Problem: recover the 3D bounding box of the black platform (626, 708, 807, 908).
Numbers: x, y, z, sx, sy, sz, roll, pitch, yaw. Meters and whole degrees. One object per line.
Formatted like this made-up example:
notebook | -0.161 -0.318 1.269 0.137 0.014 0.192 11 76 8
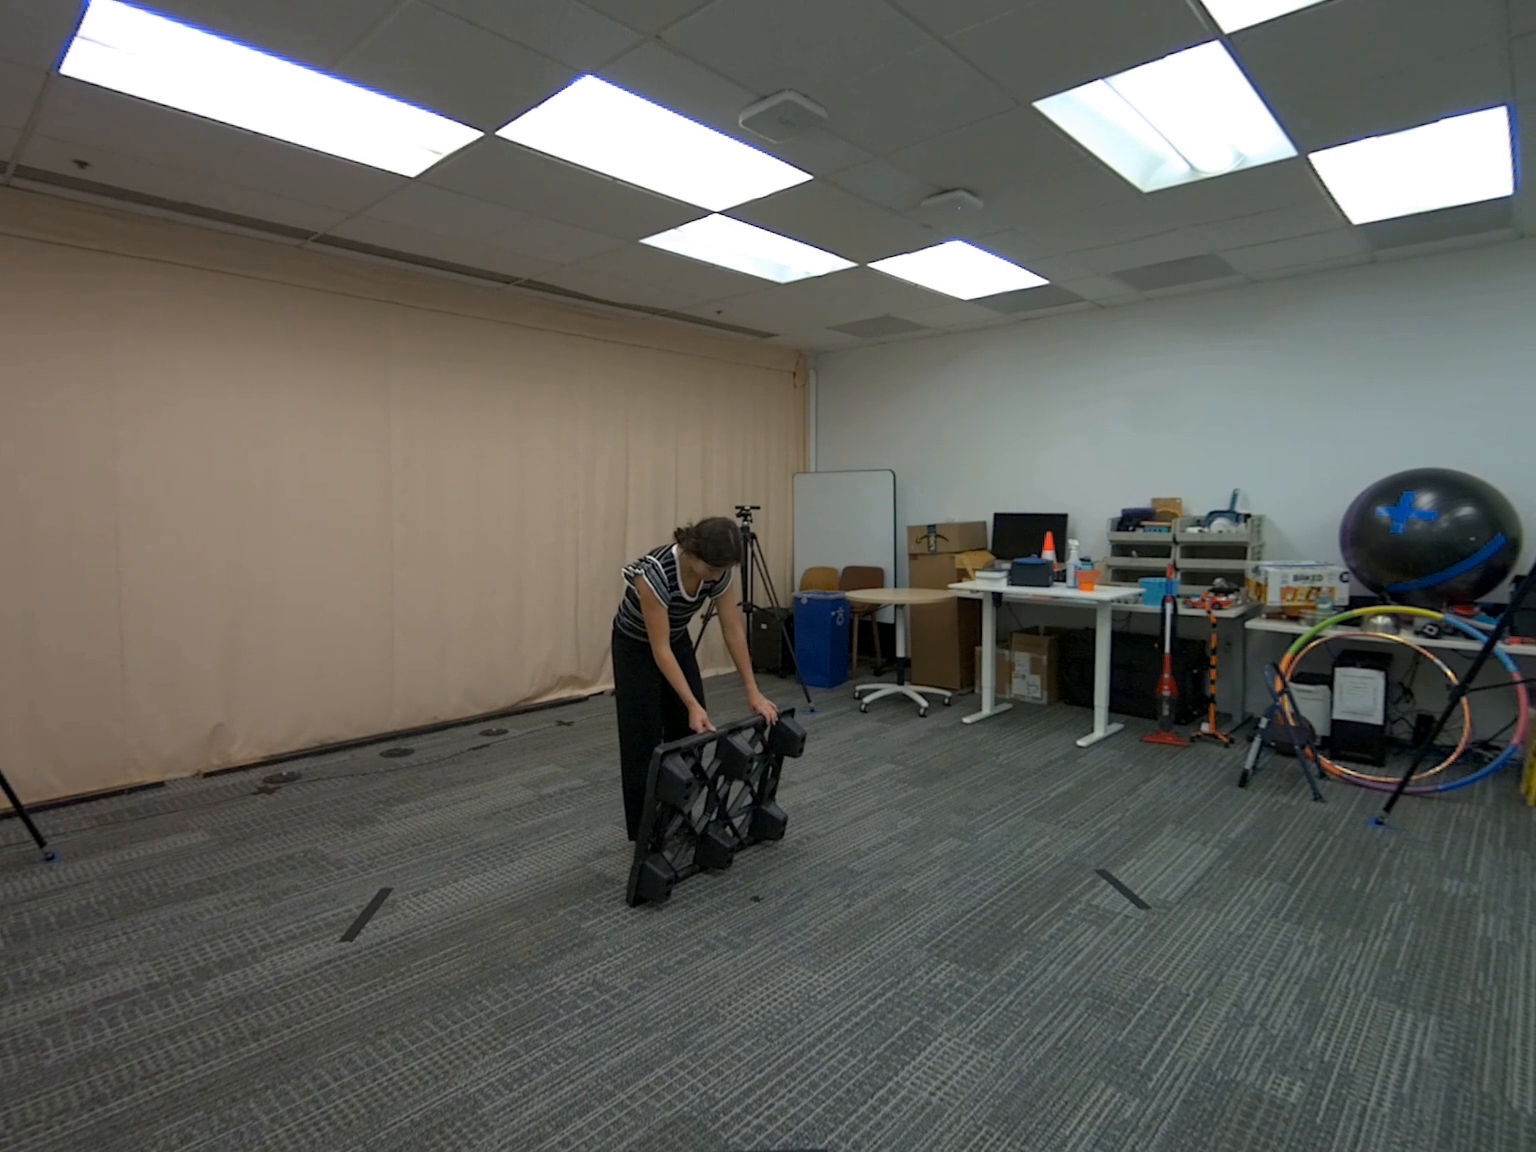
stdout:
black platform | -0.153 0.843 3.146 0.148 0.602 0.782 20 15 34
